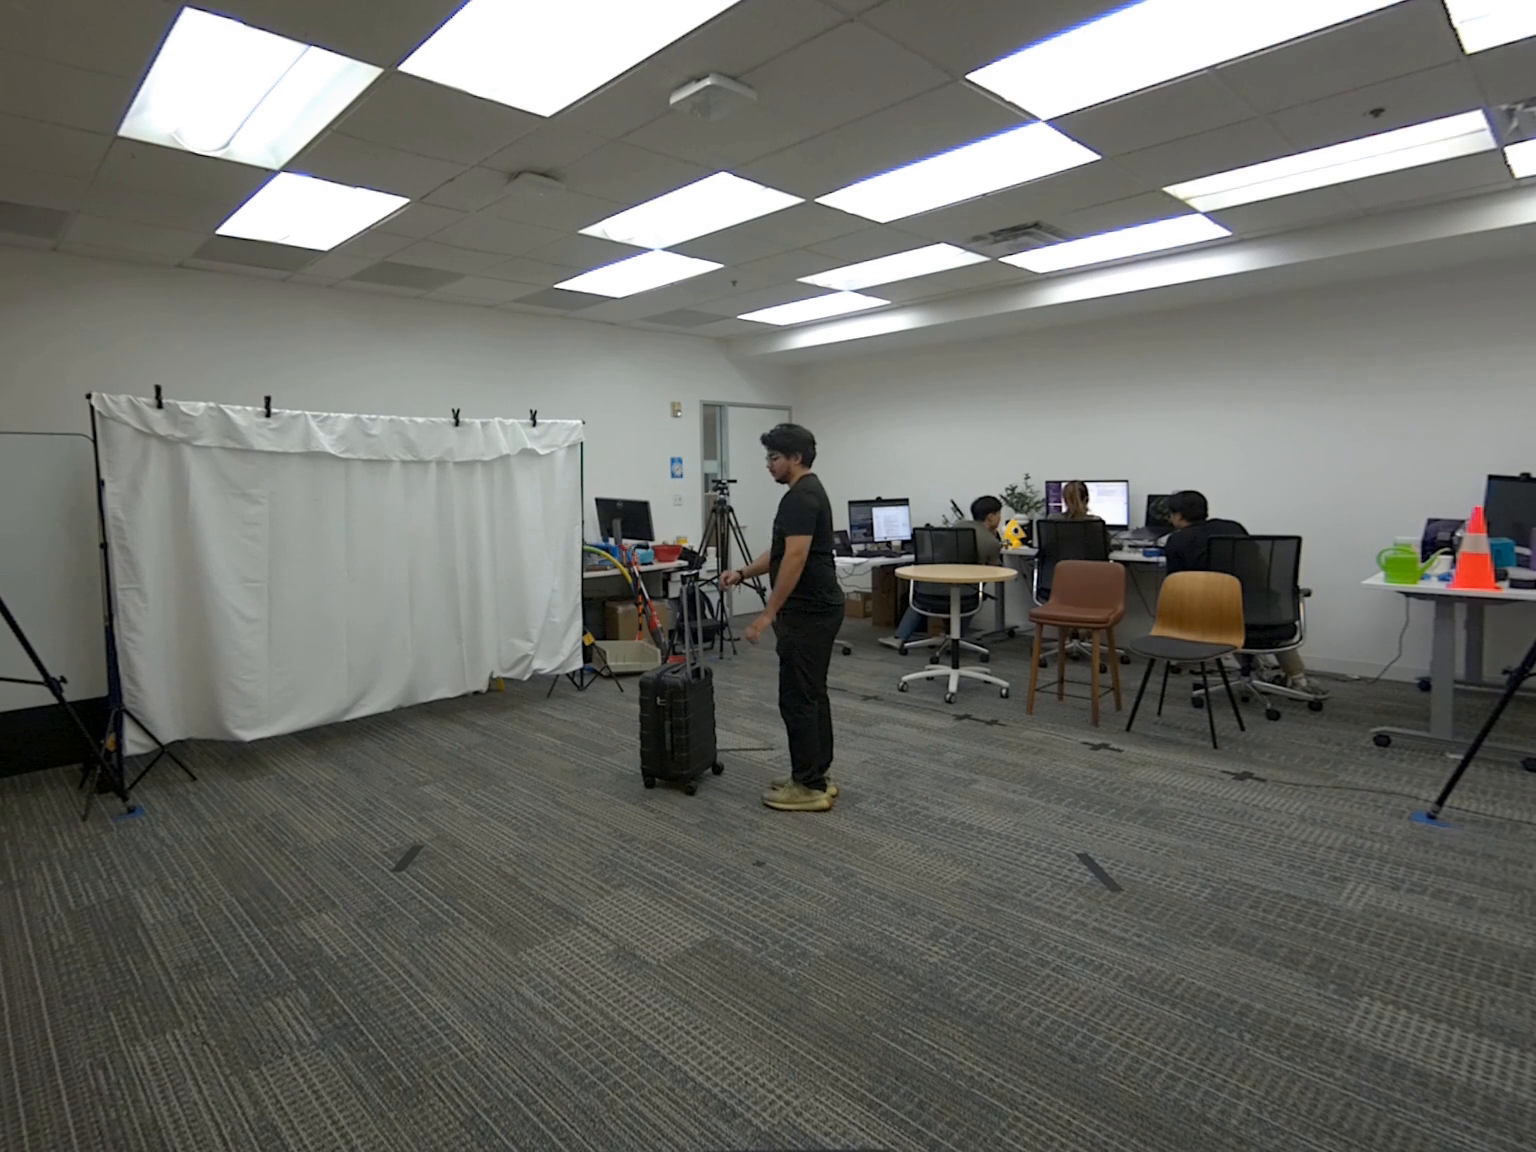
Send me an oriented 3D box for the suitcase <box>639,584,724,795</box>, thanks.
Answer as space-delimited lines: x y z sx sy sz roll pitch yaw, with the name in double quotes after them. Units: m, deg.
-0.428 0.483 3.979 0.262 0.976 0.378 -3 3 22 "suitcase"
